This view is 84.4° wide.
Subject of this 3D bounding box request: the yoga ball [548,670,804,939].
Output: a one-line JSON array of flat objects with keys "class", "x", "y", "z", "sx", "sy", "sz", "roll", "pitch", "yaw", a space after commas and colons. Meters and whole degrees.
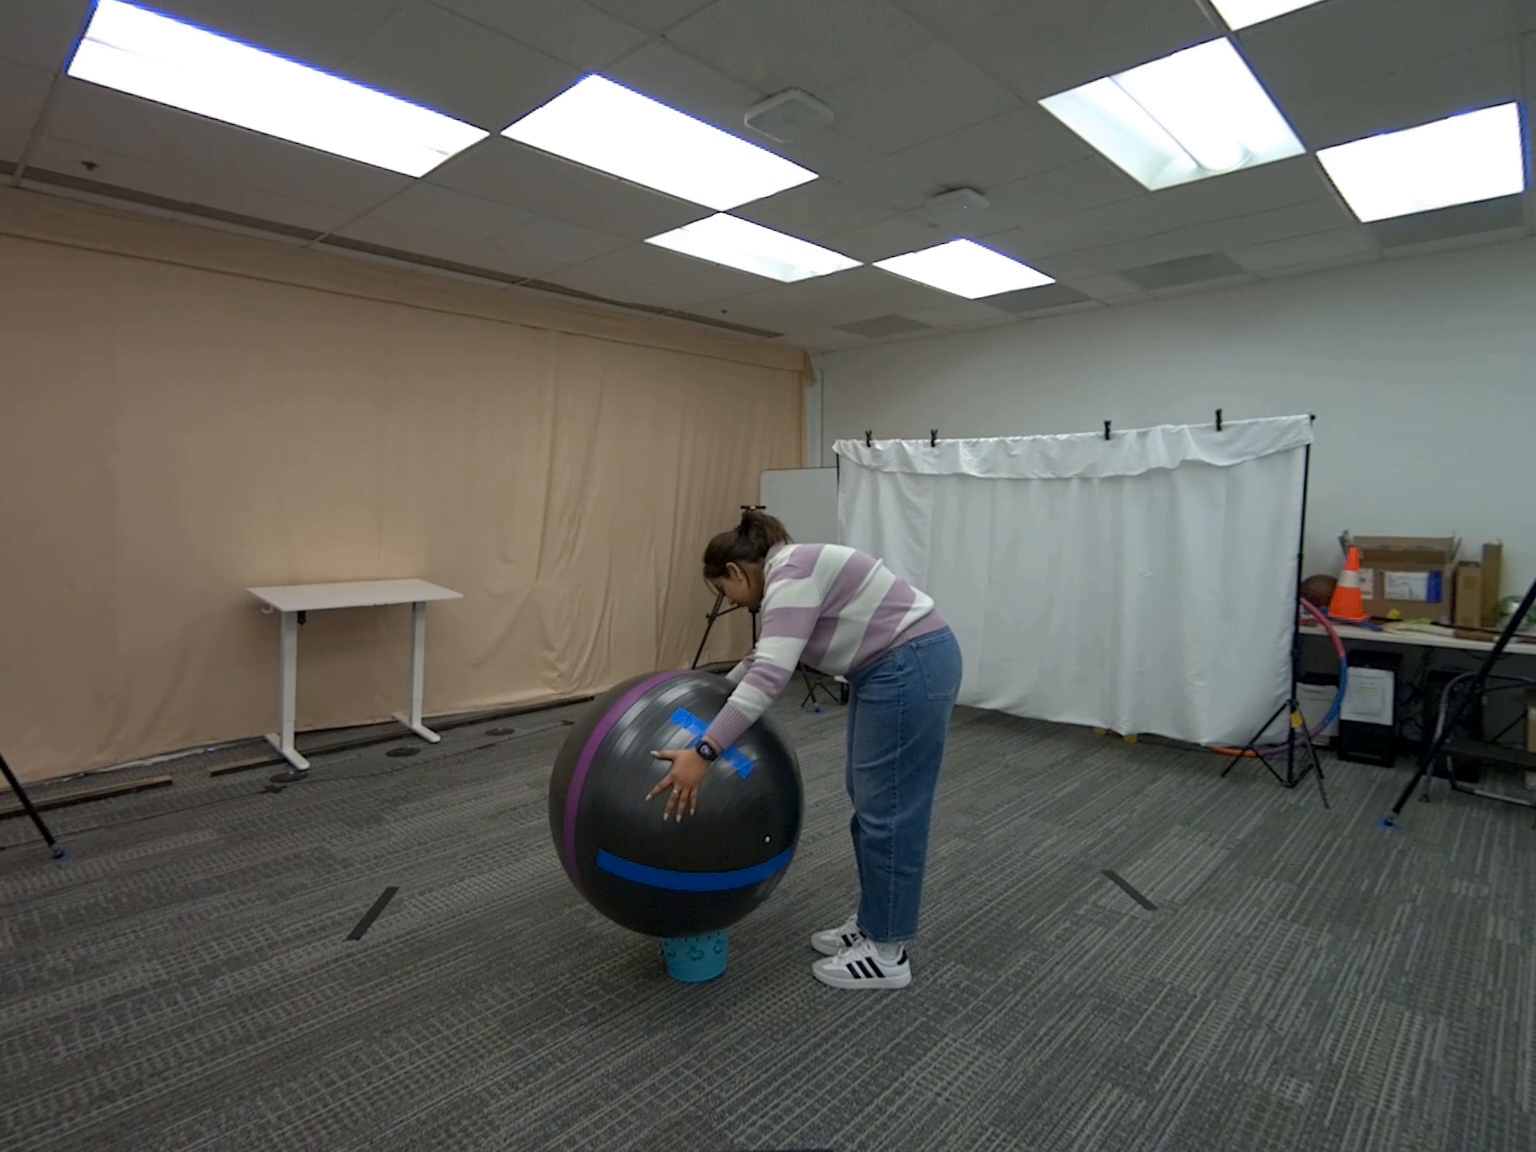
[{"class": "yoga ball", "x": -0.271, "y": 0.664, "z": 2.505, "sx": 0.757, "sy": 0.756, "sz": 0.761, "roll": 0, "pitch": 4, "yaw": -2}]
